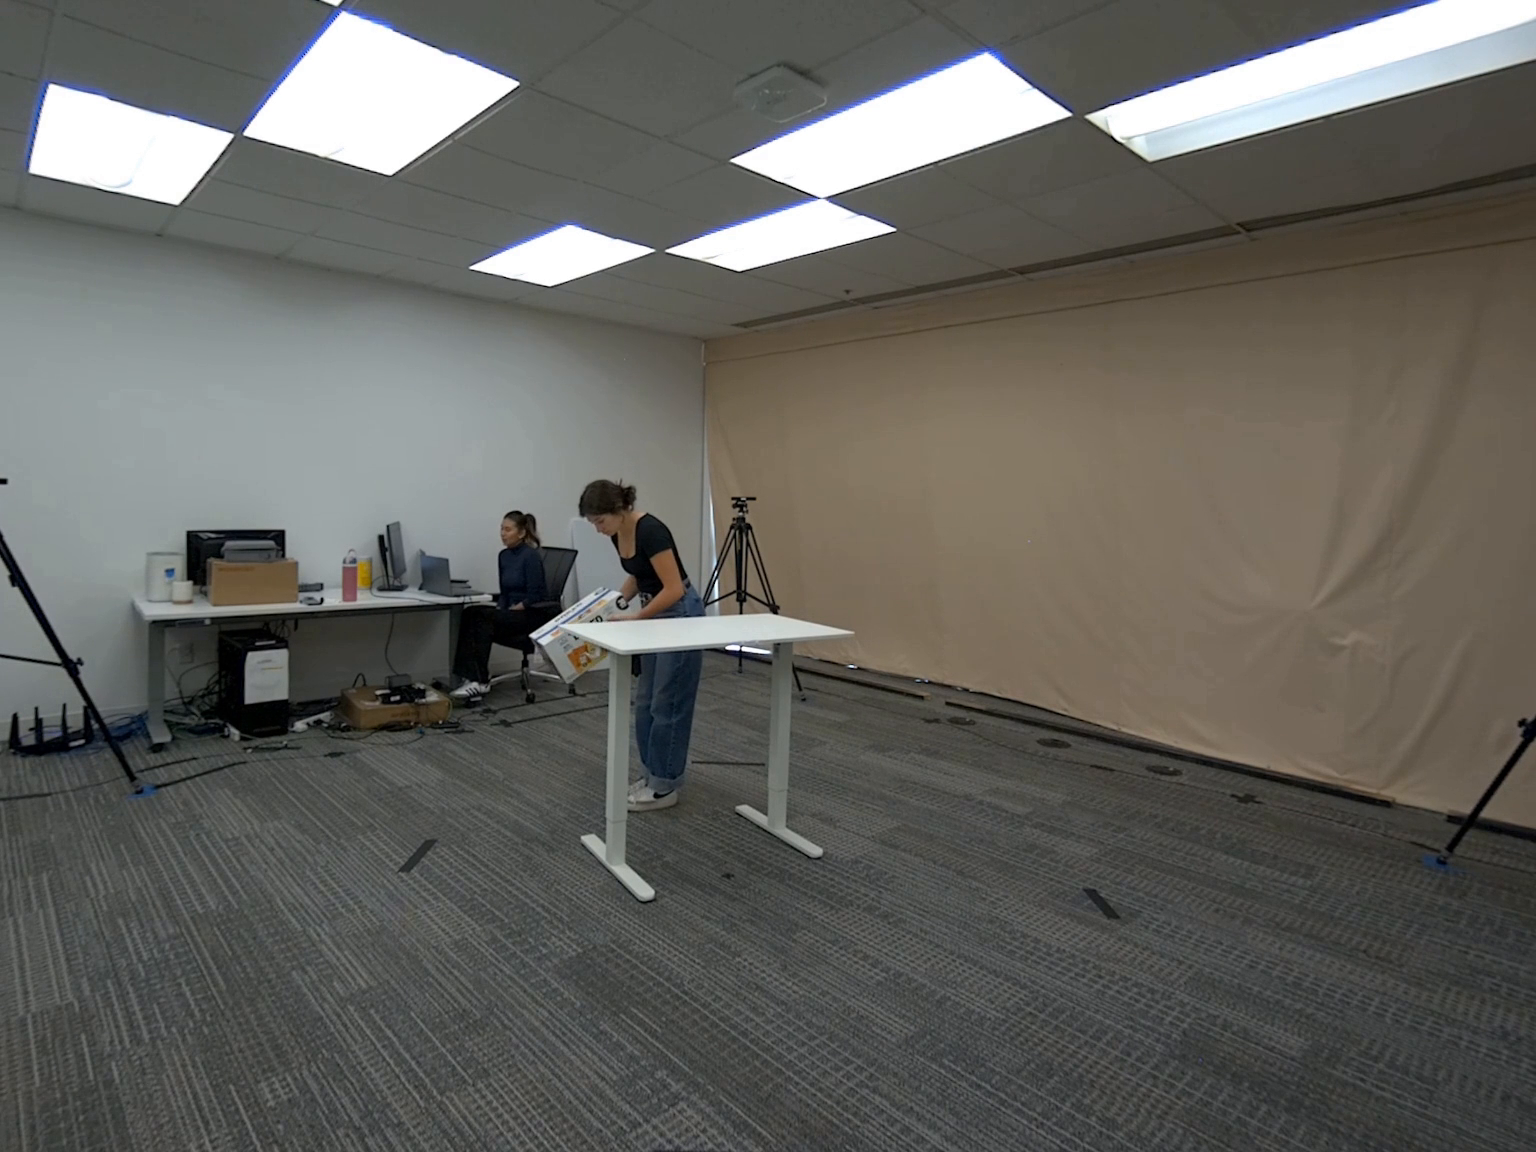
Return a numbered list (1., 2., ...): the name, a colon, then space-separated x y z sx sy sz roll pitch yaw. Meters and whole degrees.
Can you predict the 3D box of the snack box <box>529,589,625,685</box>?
1. snack box: -0.826 0.251 3.777 0.403 0.202 0.347 -35 17 -19
